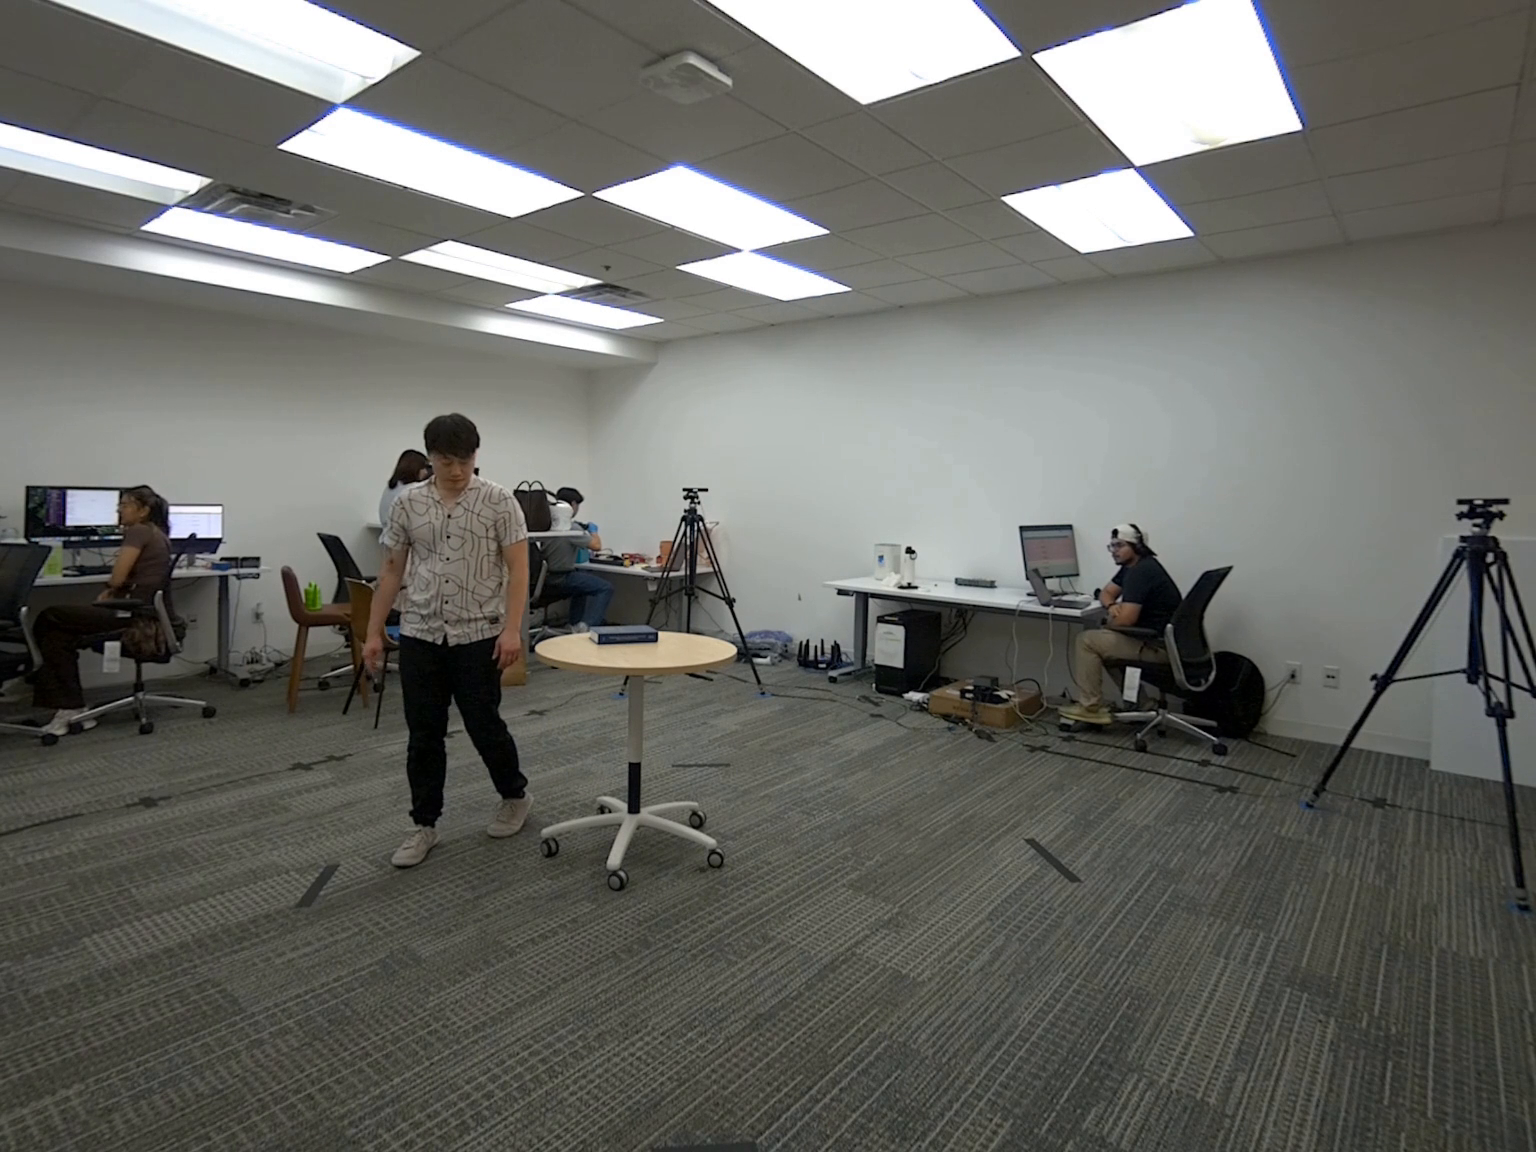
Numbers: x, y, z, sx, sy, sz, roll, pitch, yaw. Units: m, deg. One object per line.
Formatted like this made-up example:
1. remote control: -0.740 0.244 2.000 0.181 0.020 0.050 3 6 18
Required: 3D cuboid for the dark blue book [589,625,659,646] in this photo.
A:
1. dark blue book: -0.588 0.234 3.391 0.240 0.045 0.167 -1 6 -23
